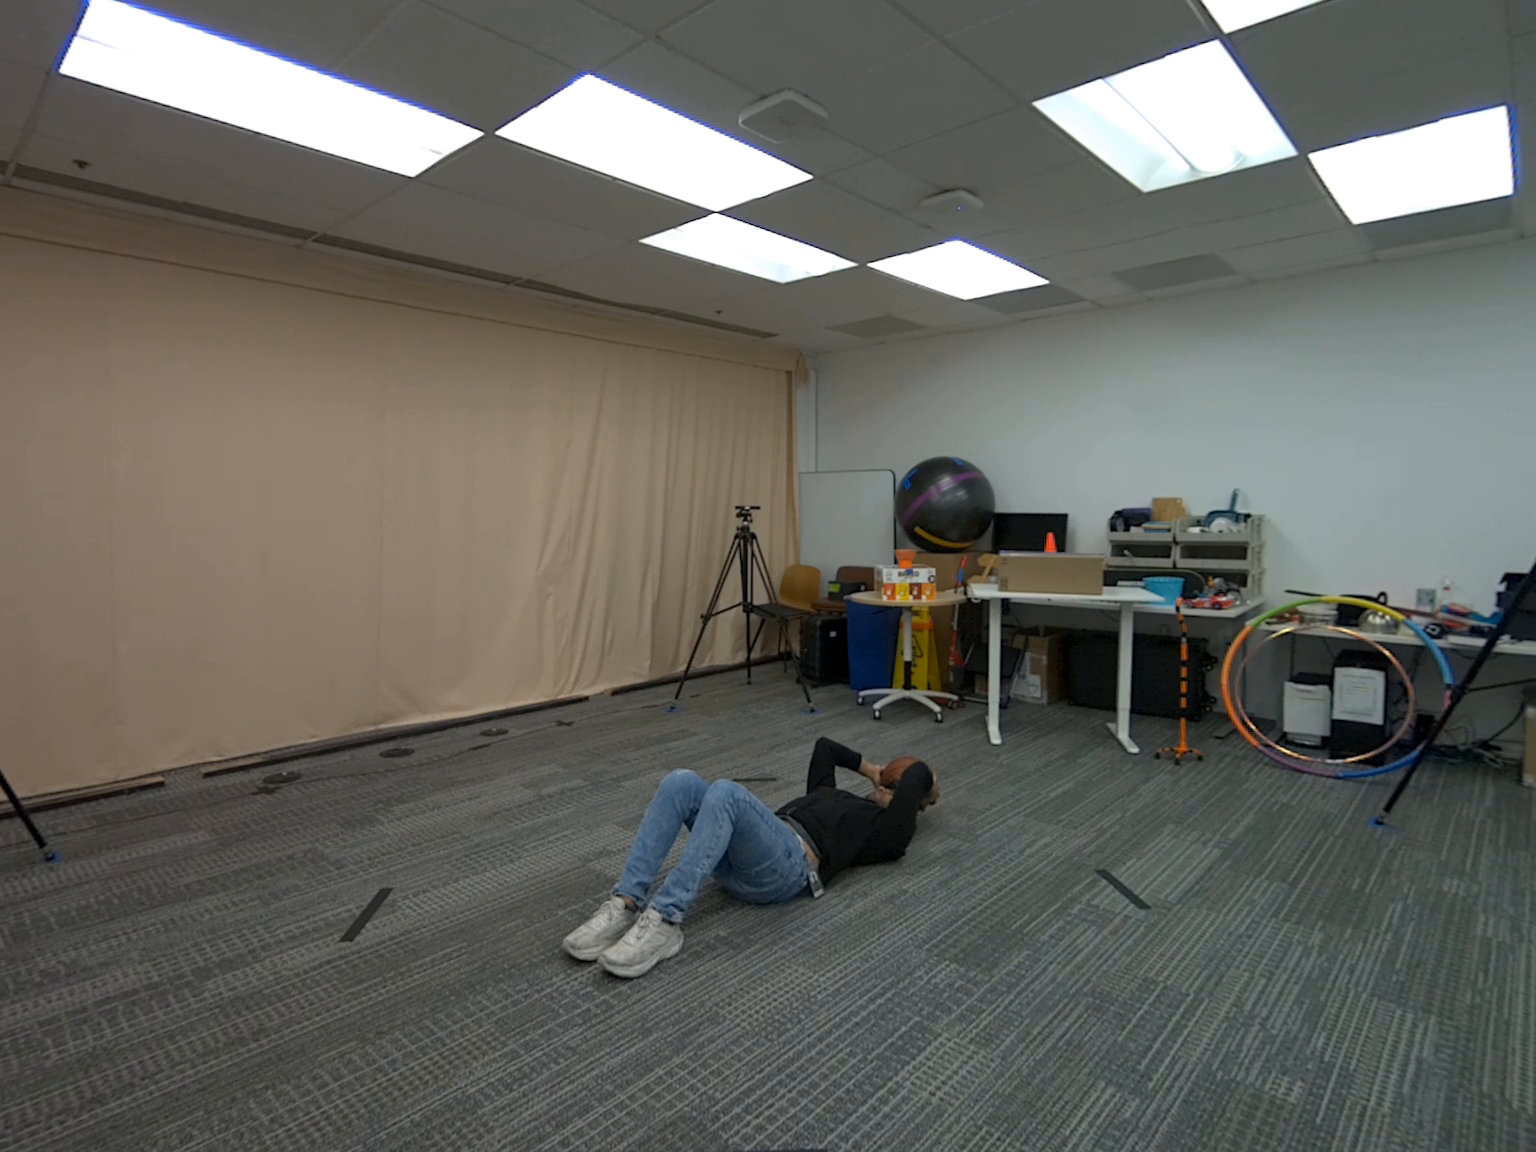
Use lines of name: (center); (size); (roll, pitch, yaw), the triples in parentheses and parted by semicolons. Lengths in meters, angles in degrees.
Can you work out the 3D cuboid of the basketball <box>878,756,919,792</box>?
basketball: (0.626, 0.921, 3.727); (0.236, 0.235, 0.237); (0, 4, -2)
